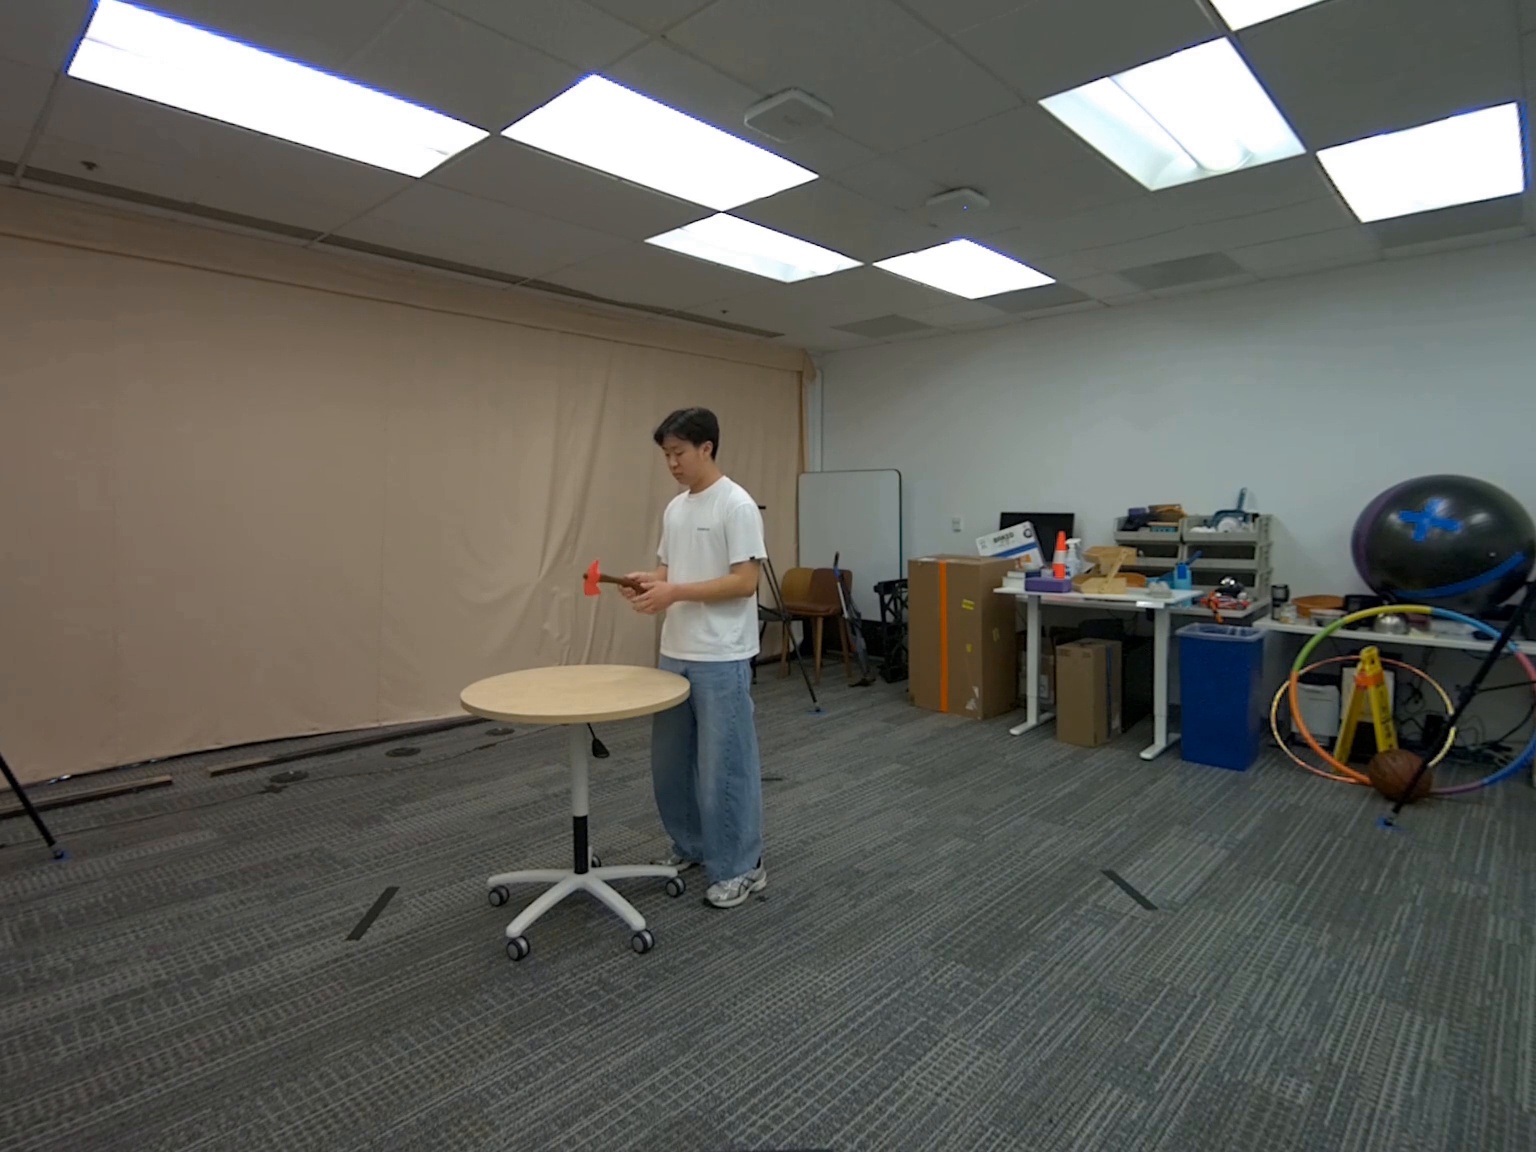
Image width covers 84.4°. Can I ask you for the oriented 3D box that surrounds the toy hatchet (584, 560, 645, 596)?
[{"bbox_3d":[-0.529,0.054,2.955,0.262,0.131,0.030,34,4,-28],"label":"toy hatchet"}]
